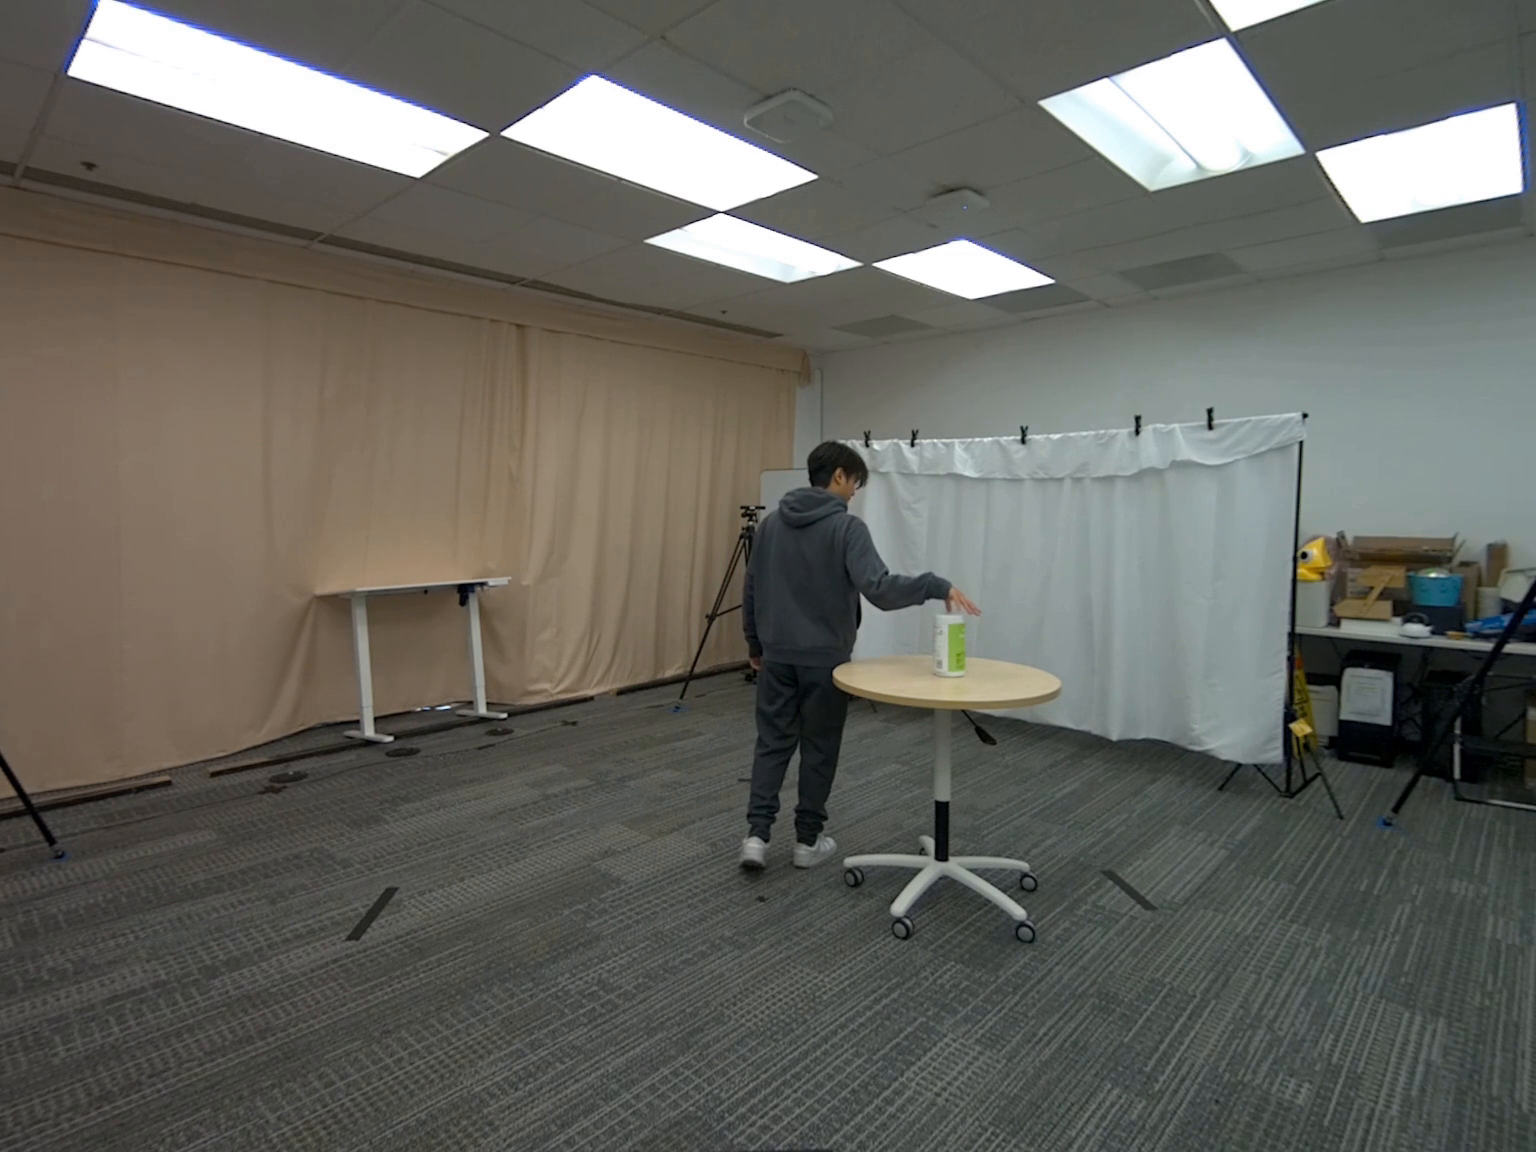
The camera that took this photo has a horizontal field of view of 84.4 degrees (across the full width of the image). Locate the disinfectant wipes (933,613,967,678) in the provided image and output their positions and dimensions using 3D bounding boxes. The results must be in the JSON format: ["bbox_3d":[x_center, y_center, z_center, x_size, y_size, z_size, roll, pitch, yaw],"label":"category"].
[{"bbox_3d":[0.644,0.242,2.951,0.118,0.217,0.118,-1,3,-2],"label":"disinfectant wipes"}]
